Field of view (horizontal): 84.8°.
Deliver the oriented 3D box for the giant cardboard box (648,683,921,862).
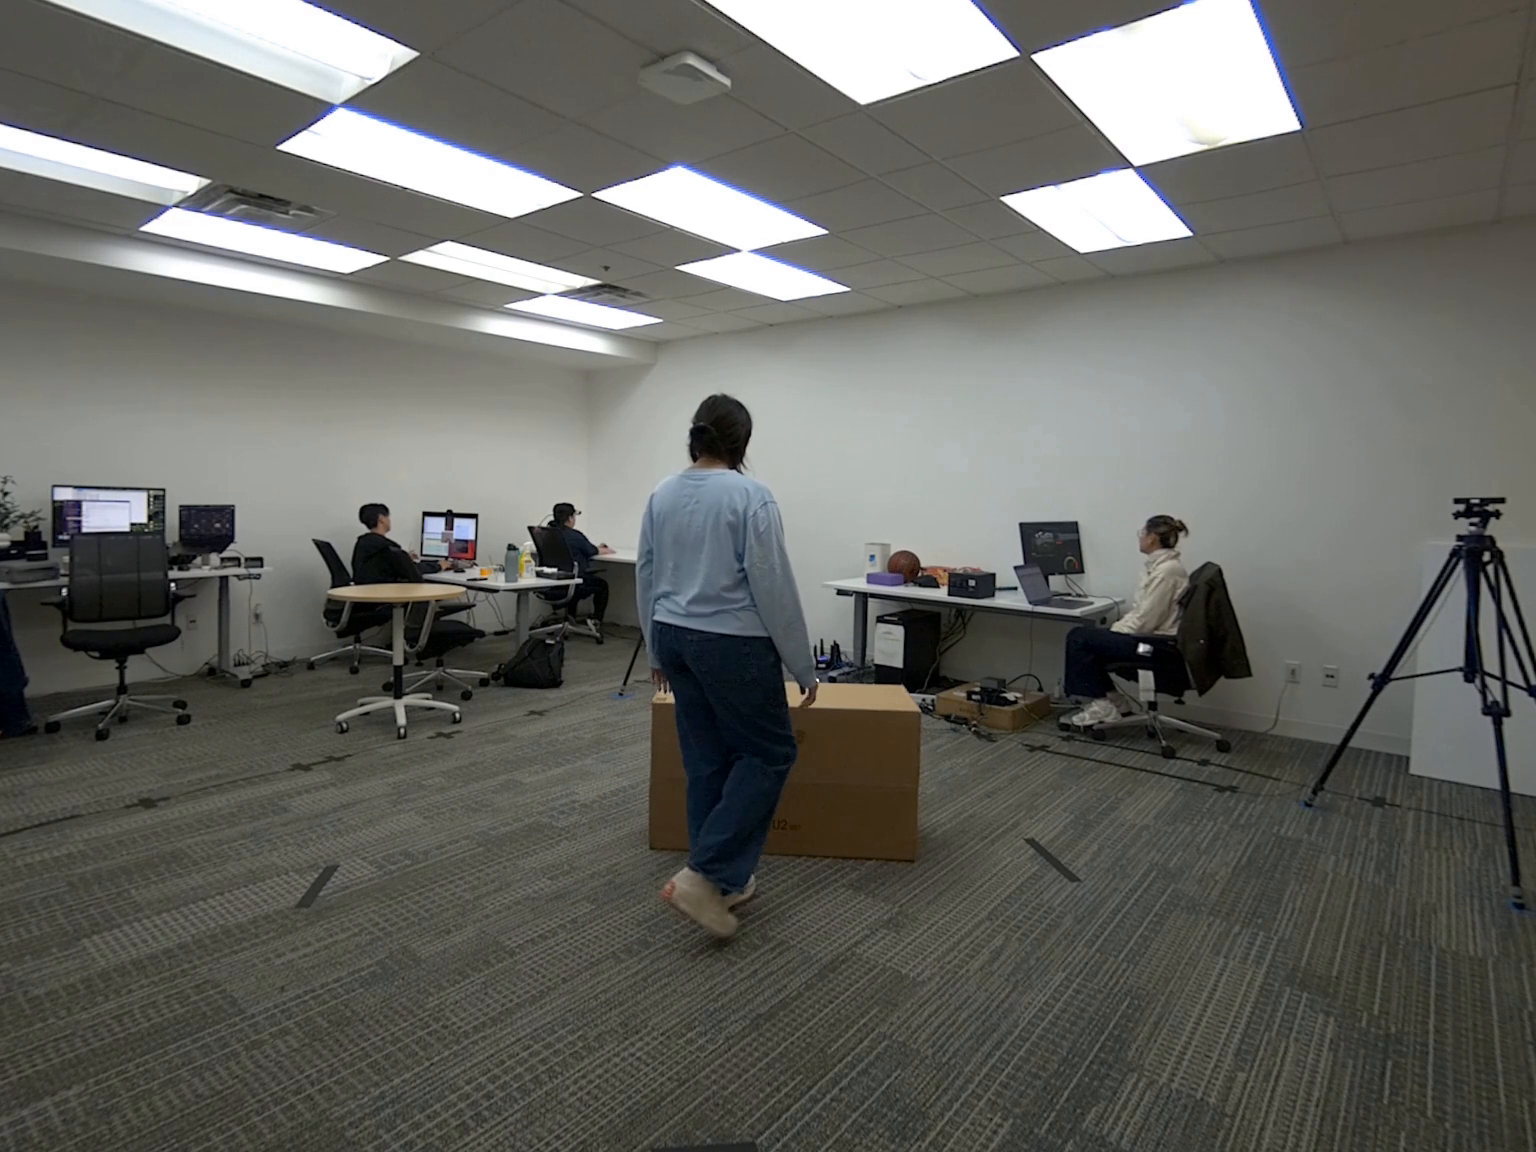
[{"bbox_3d":[0.052,0.752,3.437,1.030,0.576,0.426,1,3,3],"label":"giant cardboard box"}]
